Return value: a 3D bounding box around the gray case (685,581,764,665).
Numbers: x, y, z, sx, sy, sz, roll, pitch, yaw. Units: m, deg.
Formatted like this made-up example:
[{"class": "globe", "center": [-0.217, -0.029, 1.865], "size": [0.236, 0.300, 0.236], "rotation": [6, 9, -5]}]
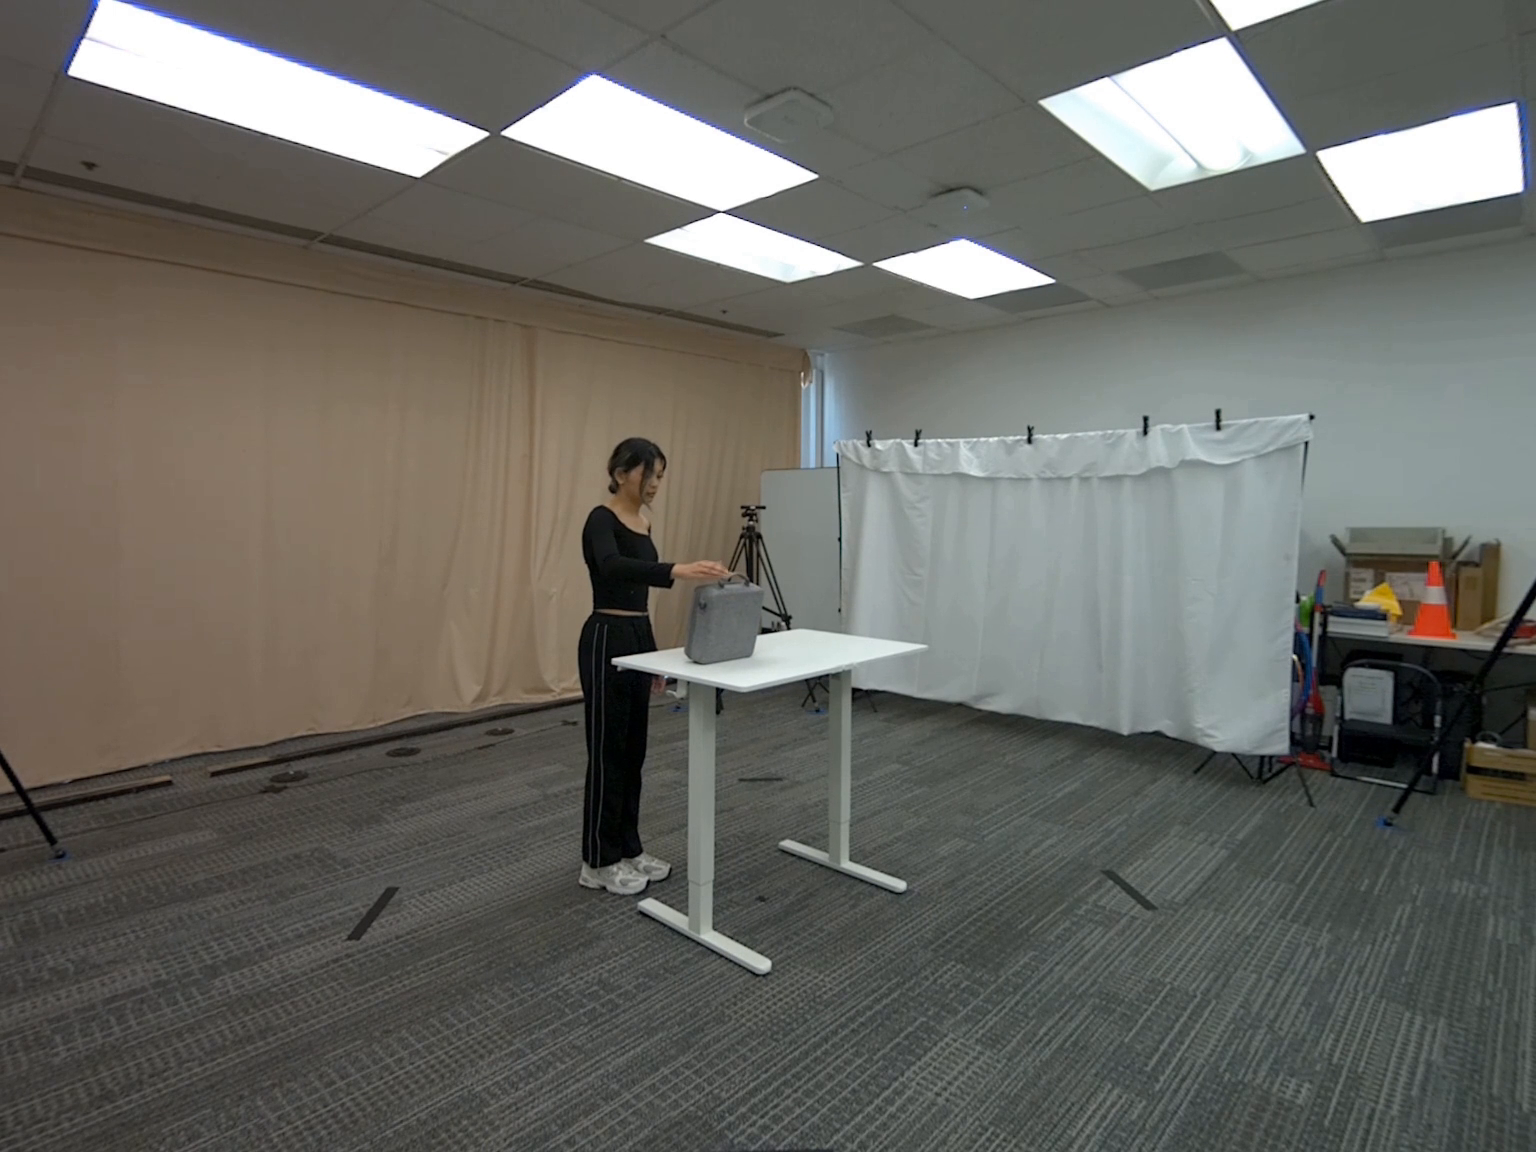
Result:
[{"class": "gray case", "center": [-0.136, 0.148, 2.757], "size": [0.249, 0.259, 0.108], "rotation": [-3, 17, -44]}]
